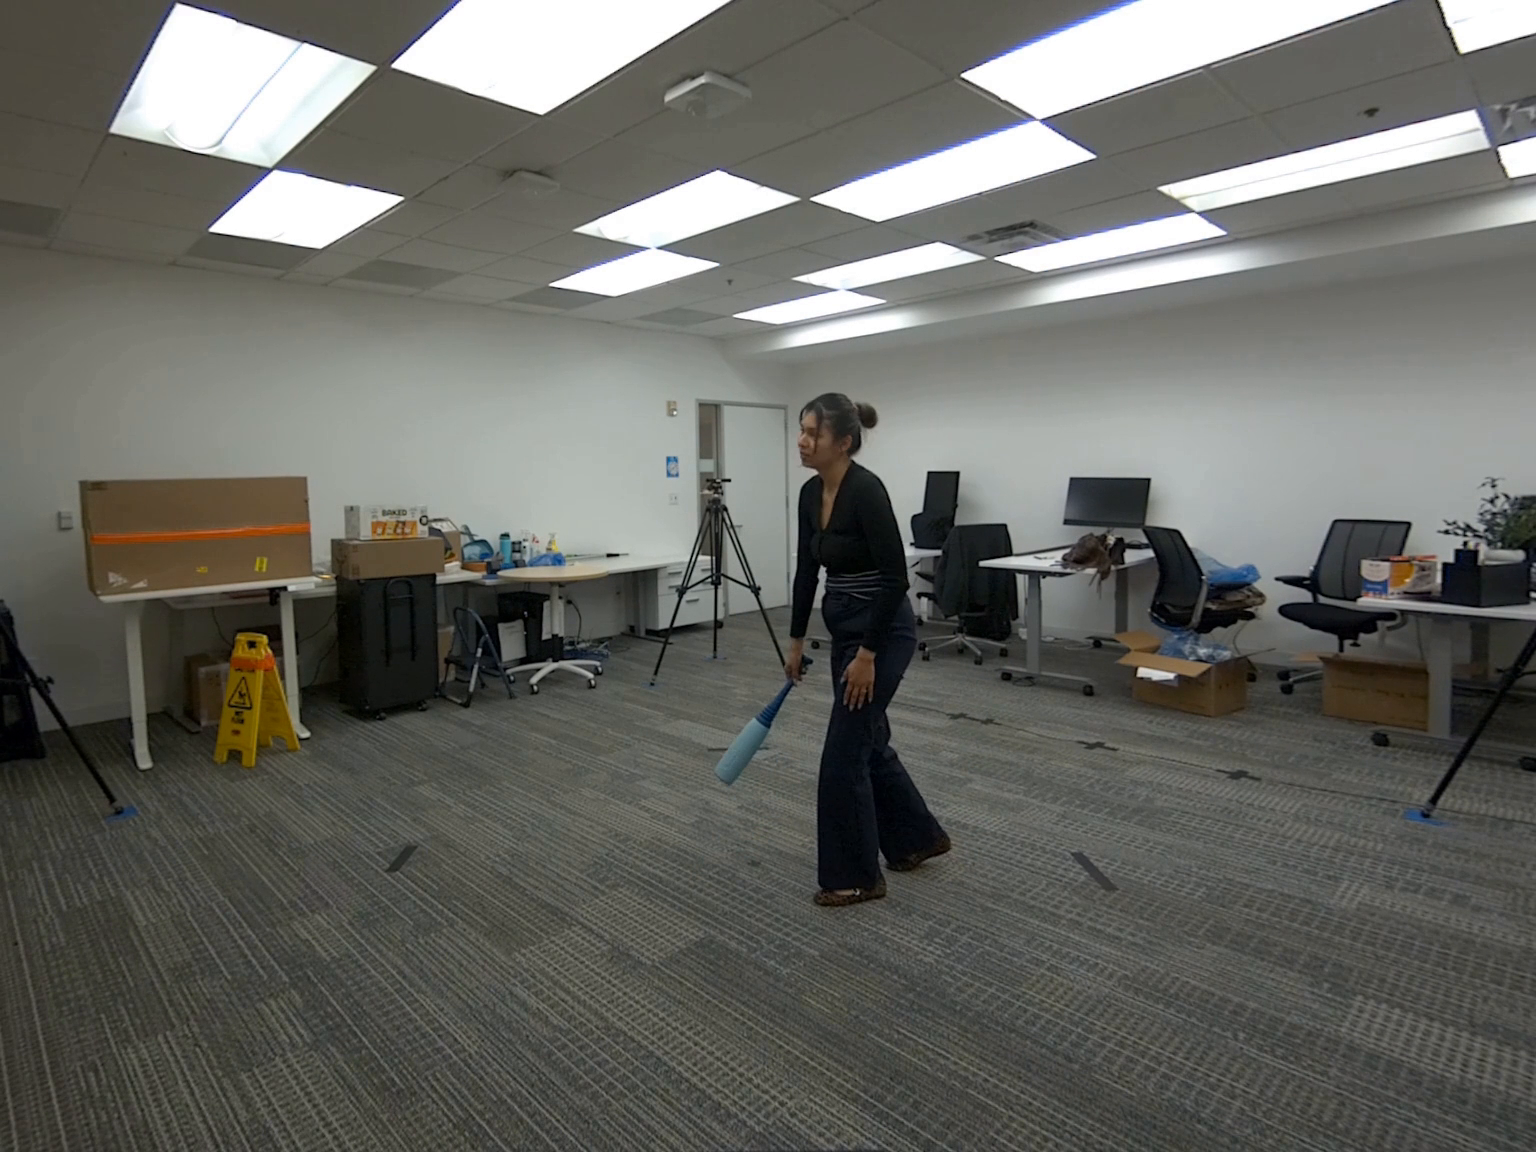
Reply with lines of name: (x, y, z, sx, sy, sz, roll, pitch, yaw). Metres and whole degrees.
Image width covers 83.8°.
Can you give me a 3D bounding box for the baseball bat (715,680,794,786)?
baseball bat: (0.003, 0.527, 3.057, 0.089, 0.543, 0.089, 38, 1, -3)
